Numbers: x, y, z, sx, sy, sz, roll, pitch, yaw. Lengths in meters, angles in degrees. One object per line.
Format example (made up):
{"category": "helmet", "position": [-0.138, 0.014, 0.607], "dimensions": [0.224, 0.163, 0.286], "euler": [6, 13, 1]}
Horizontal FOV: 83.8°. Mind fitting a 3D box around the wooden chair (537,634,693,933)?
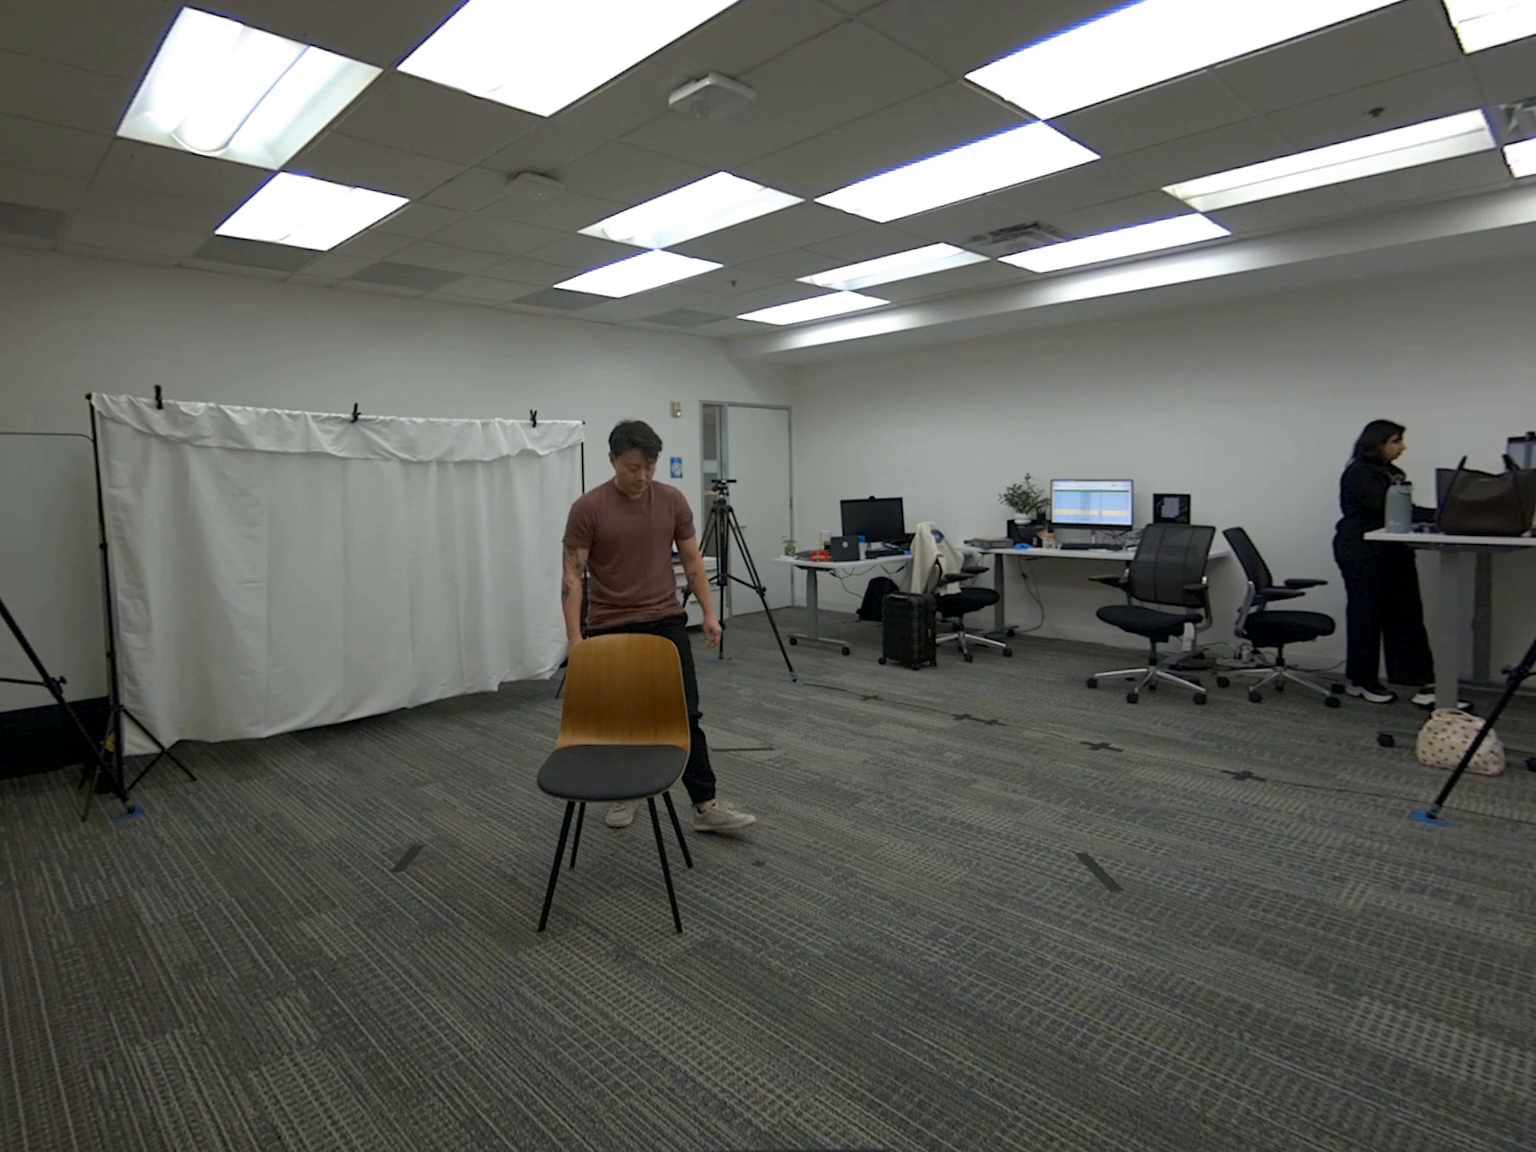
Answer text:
{"category": "wooden chair", "position": [-0.498, 0.663, 2.836], "dimensions": [0.479, 0.878, 0.522], "euler": [0, 0, 1]}
